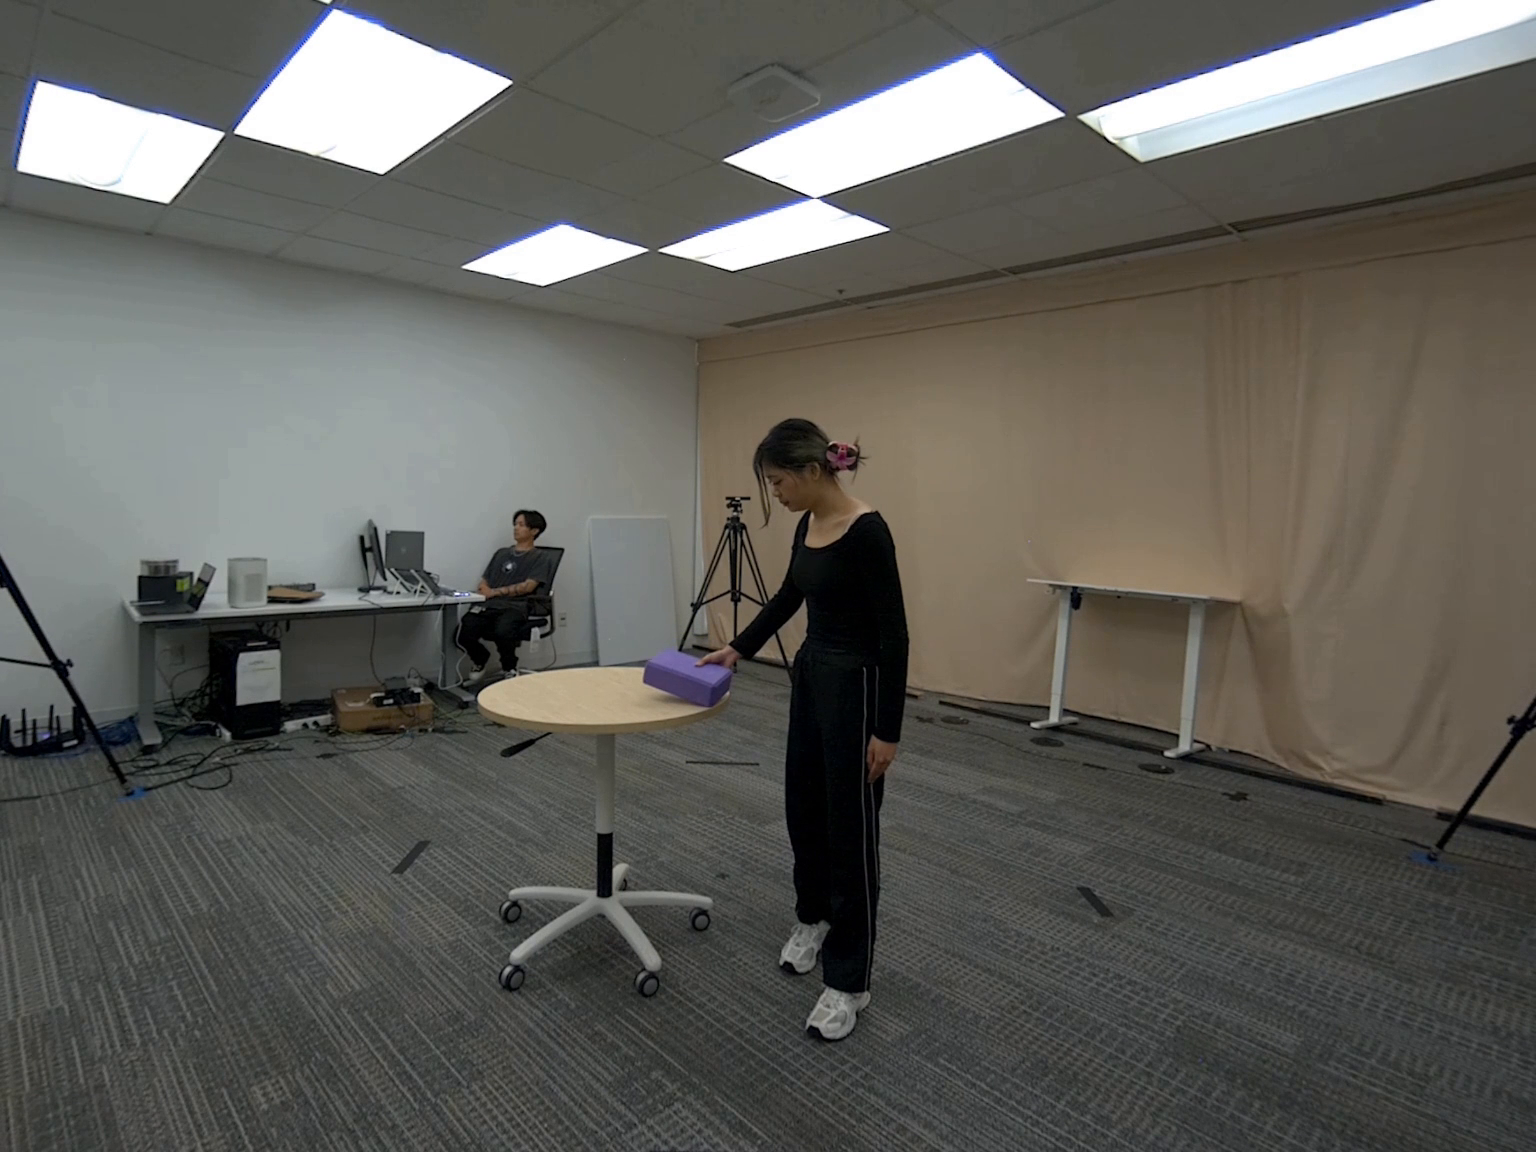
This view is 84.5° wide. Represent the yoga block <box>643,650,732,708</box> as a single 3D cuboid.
[{"bbox_3d":[-0.227,0.301,2.505,0.231,0.076,0.149,11,16,10],"label":"yoga block"}]
